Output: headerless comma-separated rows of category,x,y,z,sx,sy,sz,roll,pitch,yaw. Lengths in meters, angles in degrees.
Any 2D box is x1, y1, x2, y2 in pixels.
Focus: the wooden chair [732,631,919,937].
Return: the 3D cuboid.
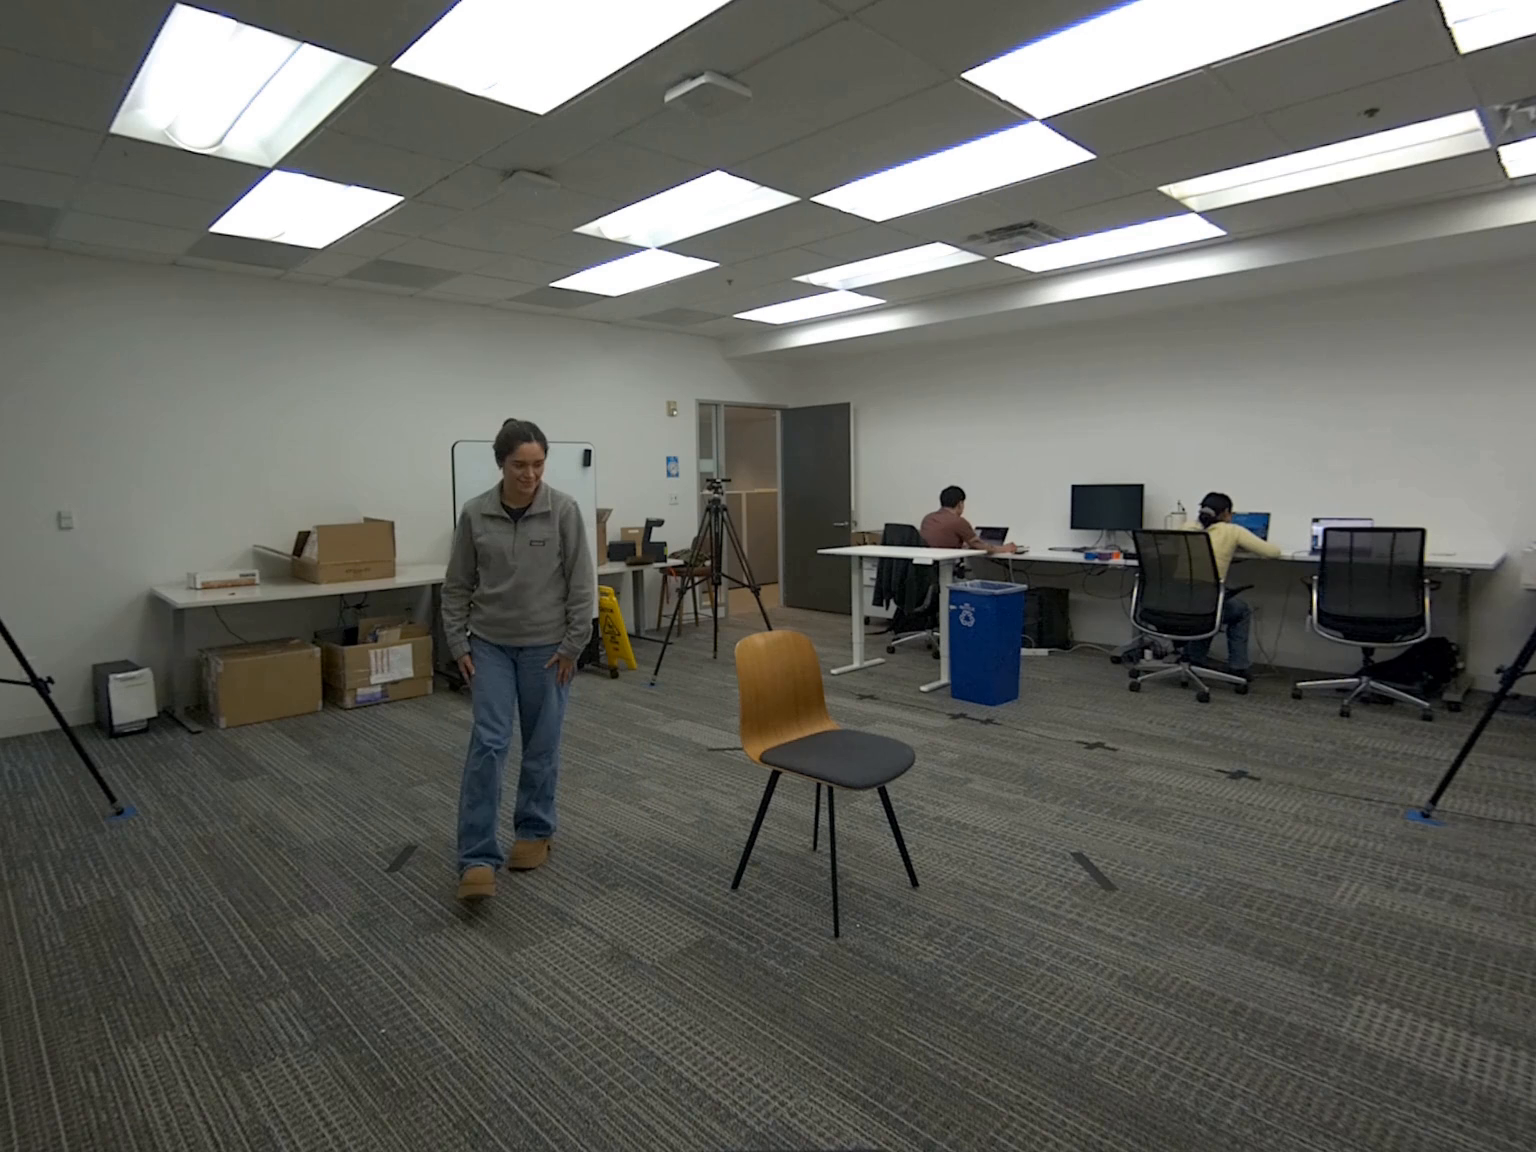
wooden chair,0.192,0.637,2.871,0.537,0.877,0.465,-3,1,44
